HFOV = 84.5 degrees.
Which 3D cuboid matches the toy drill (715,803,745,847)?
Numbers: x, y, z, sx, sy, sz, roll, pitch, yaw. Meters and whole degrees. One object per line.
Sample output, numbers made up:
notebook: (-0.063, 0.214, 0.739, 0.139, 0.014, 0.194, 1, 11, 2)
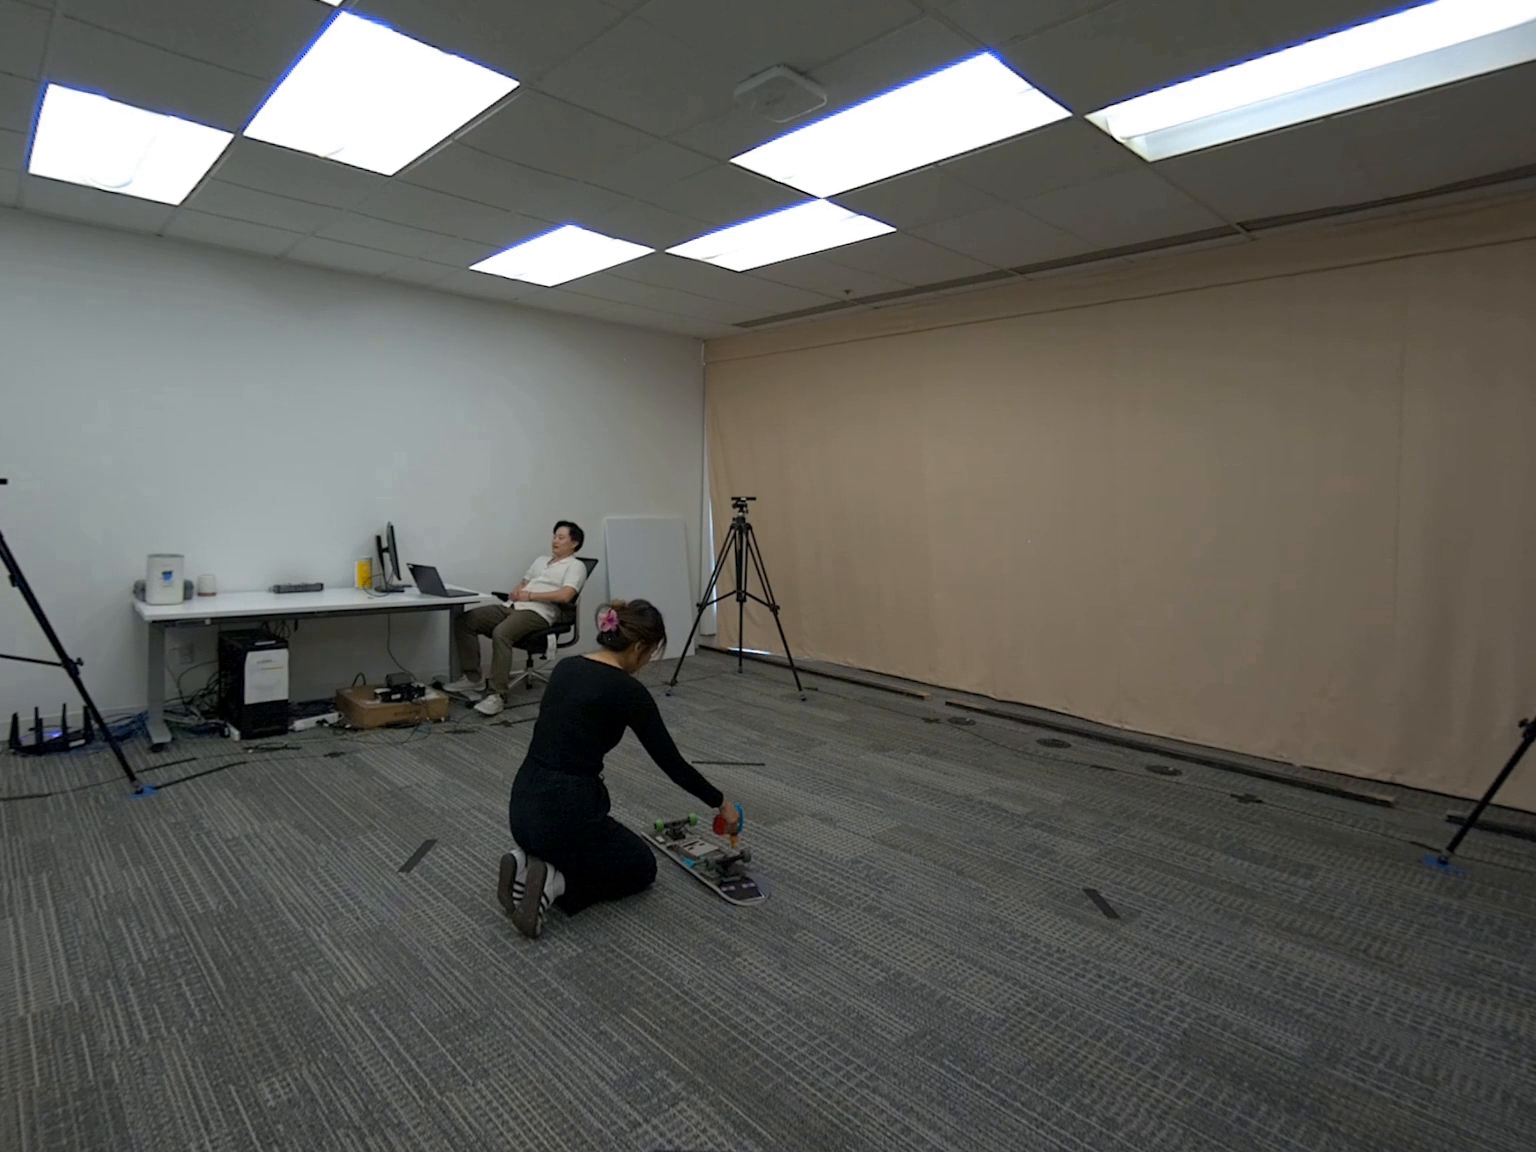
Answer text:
toy drill: (-0.144, 0.932, 3.050, 0.063, 0.169, 0.143, 11, 7, 32)
